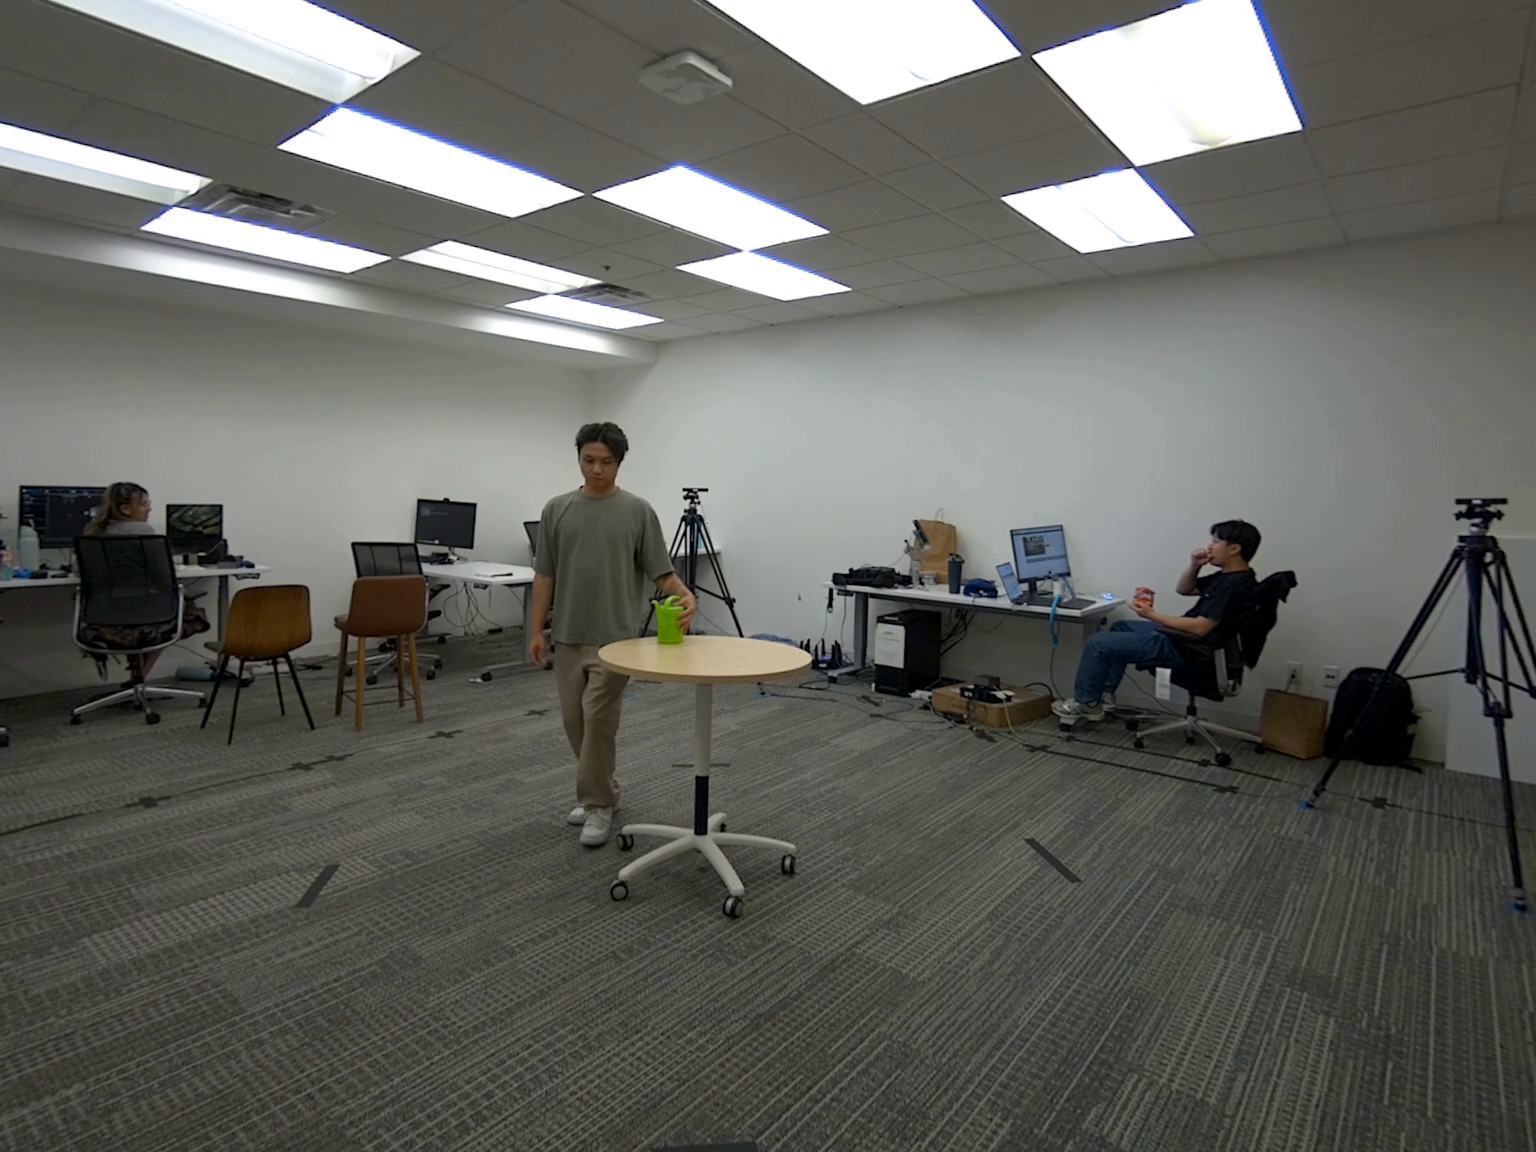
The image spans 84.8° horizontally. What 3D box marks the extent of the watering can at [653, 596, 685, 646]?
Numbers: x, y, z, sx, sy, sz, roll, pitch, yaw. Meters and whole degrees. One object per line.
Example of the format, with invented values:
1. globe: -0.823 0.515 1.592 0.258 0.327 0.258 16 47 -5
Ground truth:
1. watering can: -0.408 0.168 3.241 0.101 0.176 0.270 2 3 32
